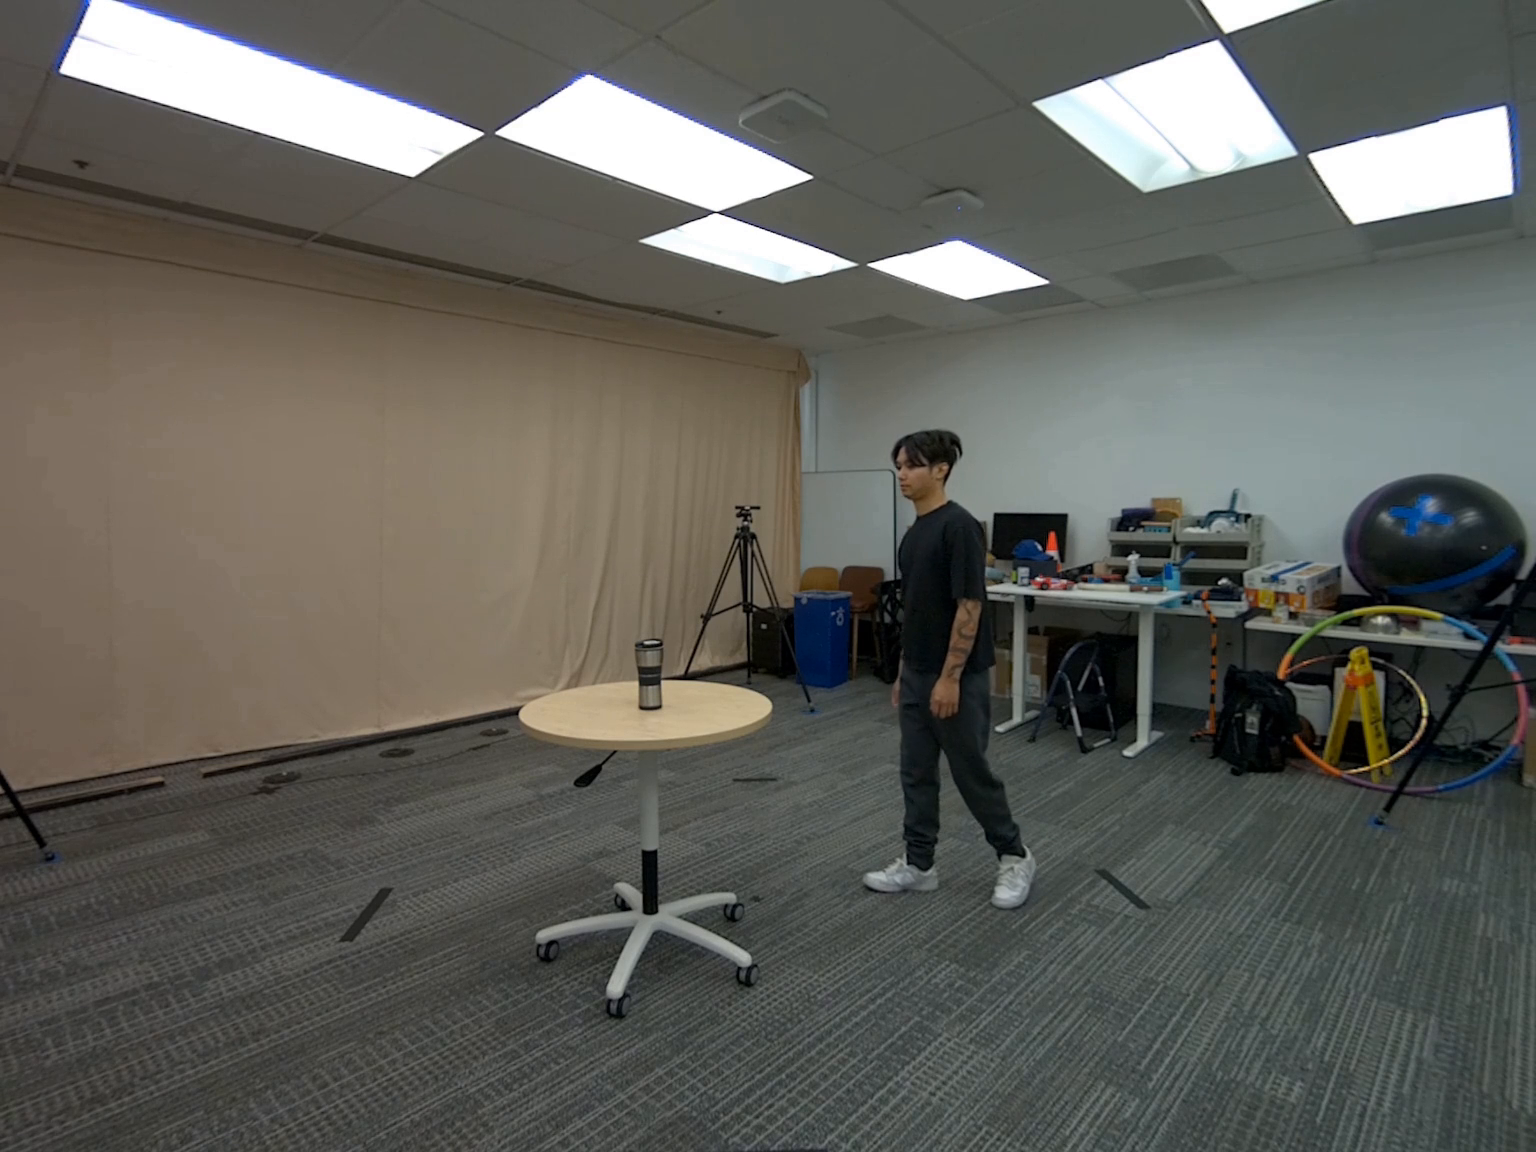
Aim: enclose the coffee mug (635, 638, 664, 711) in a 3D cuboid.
[{"bbox_3d":[-0.343,0.299,2.554,0.118,0.202,0.090,-8,3,-41],"label":"coffee mug"}]
